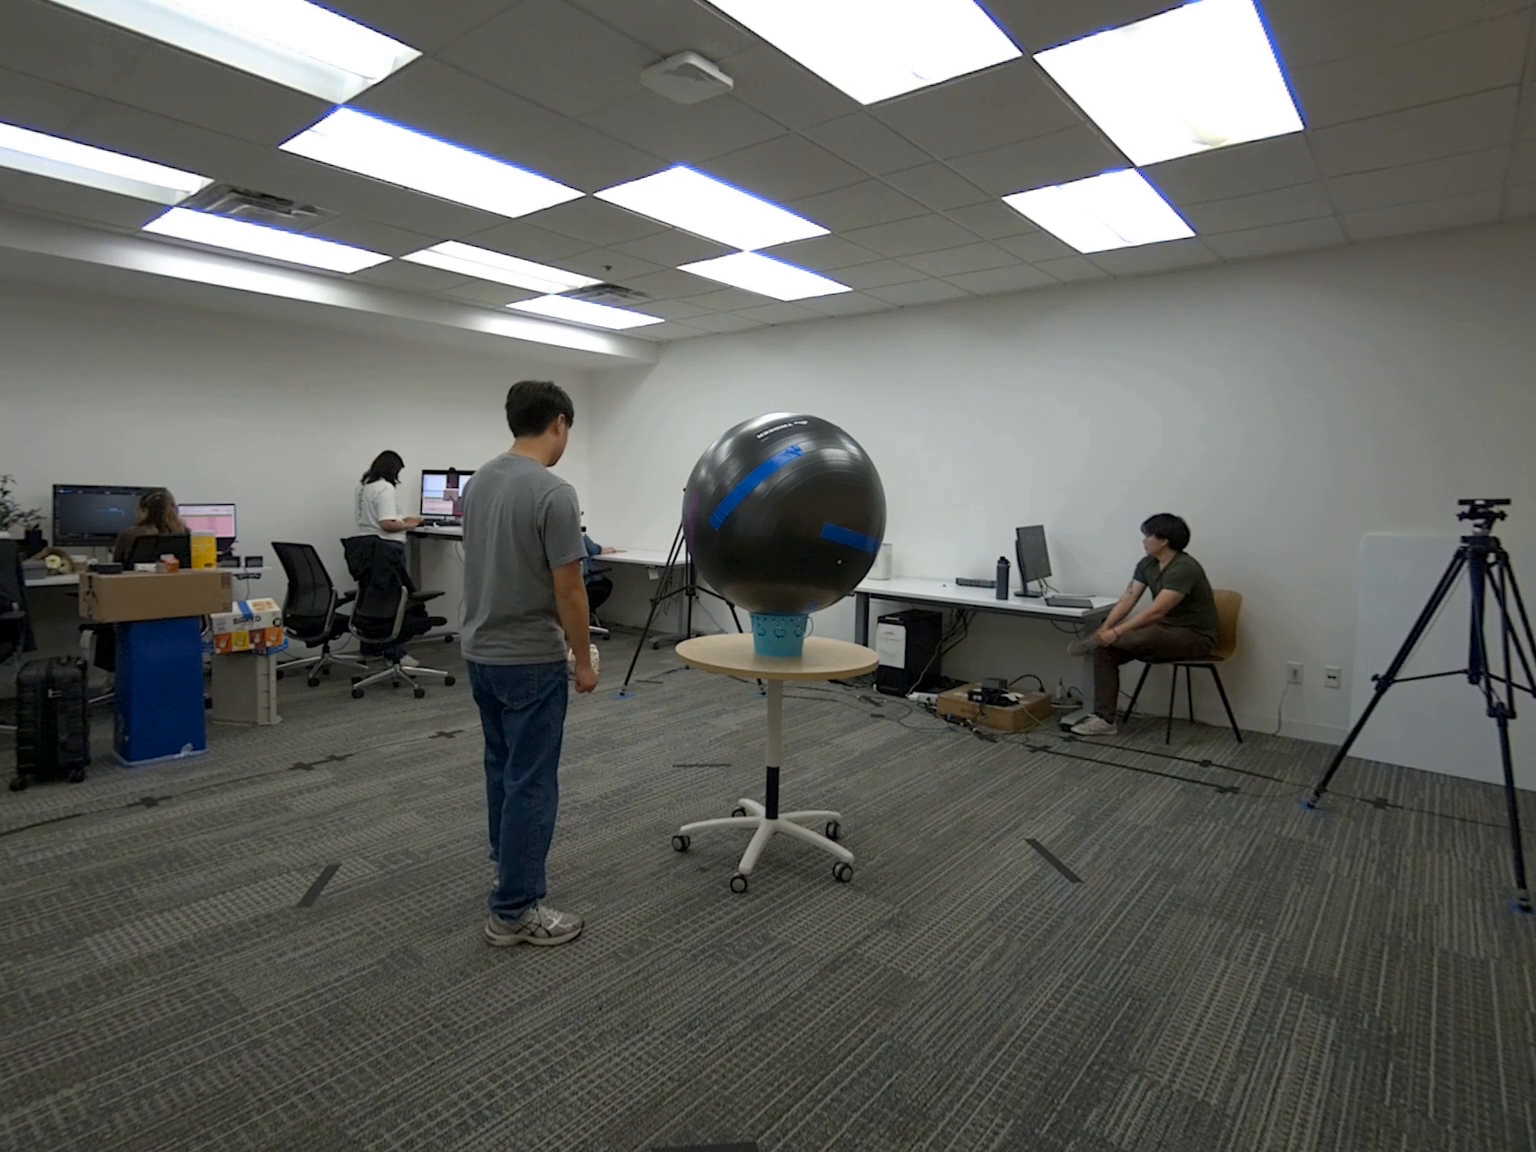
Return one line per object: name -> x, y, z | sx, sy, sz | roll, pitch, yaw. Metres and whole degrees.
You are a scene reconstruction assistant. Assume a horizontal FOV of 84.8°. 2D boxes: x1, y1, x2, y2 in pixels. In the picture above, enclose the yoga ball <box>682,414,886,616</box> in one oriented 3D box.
yoga ball -> 0.046, -0.228, 3.178 | 0.757, 0.755, 0.762 | 1, 4, -2
